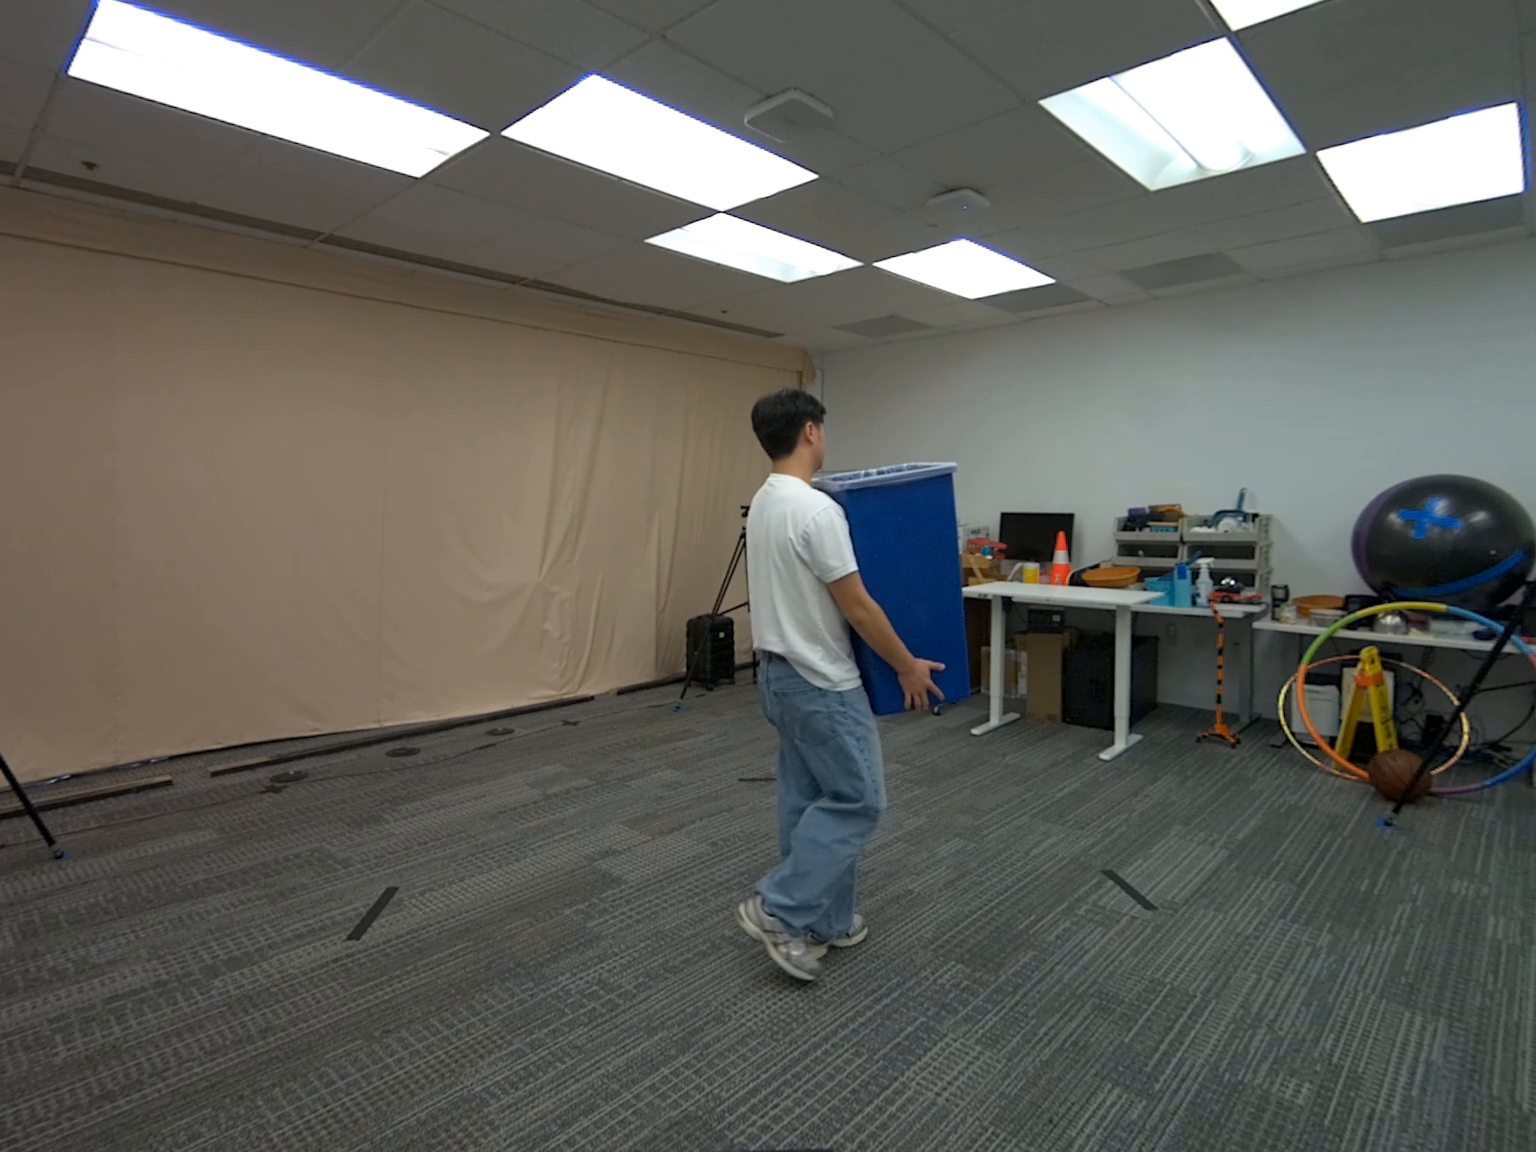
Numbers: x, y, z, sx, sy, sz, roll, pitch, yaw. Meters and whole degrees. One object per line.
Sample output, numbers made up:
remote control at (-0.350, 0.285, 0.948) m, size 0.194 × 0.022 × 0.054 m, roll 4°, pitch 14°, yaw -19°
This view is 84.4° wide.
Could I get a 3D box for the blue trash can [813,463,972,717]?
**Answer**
blue trash can at (0.400, 0.020, 2.618) m, size 0.374 × 0.710 × 0.380 m, roll -10°, pitch 6°, yaw -12°
